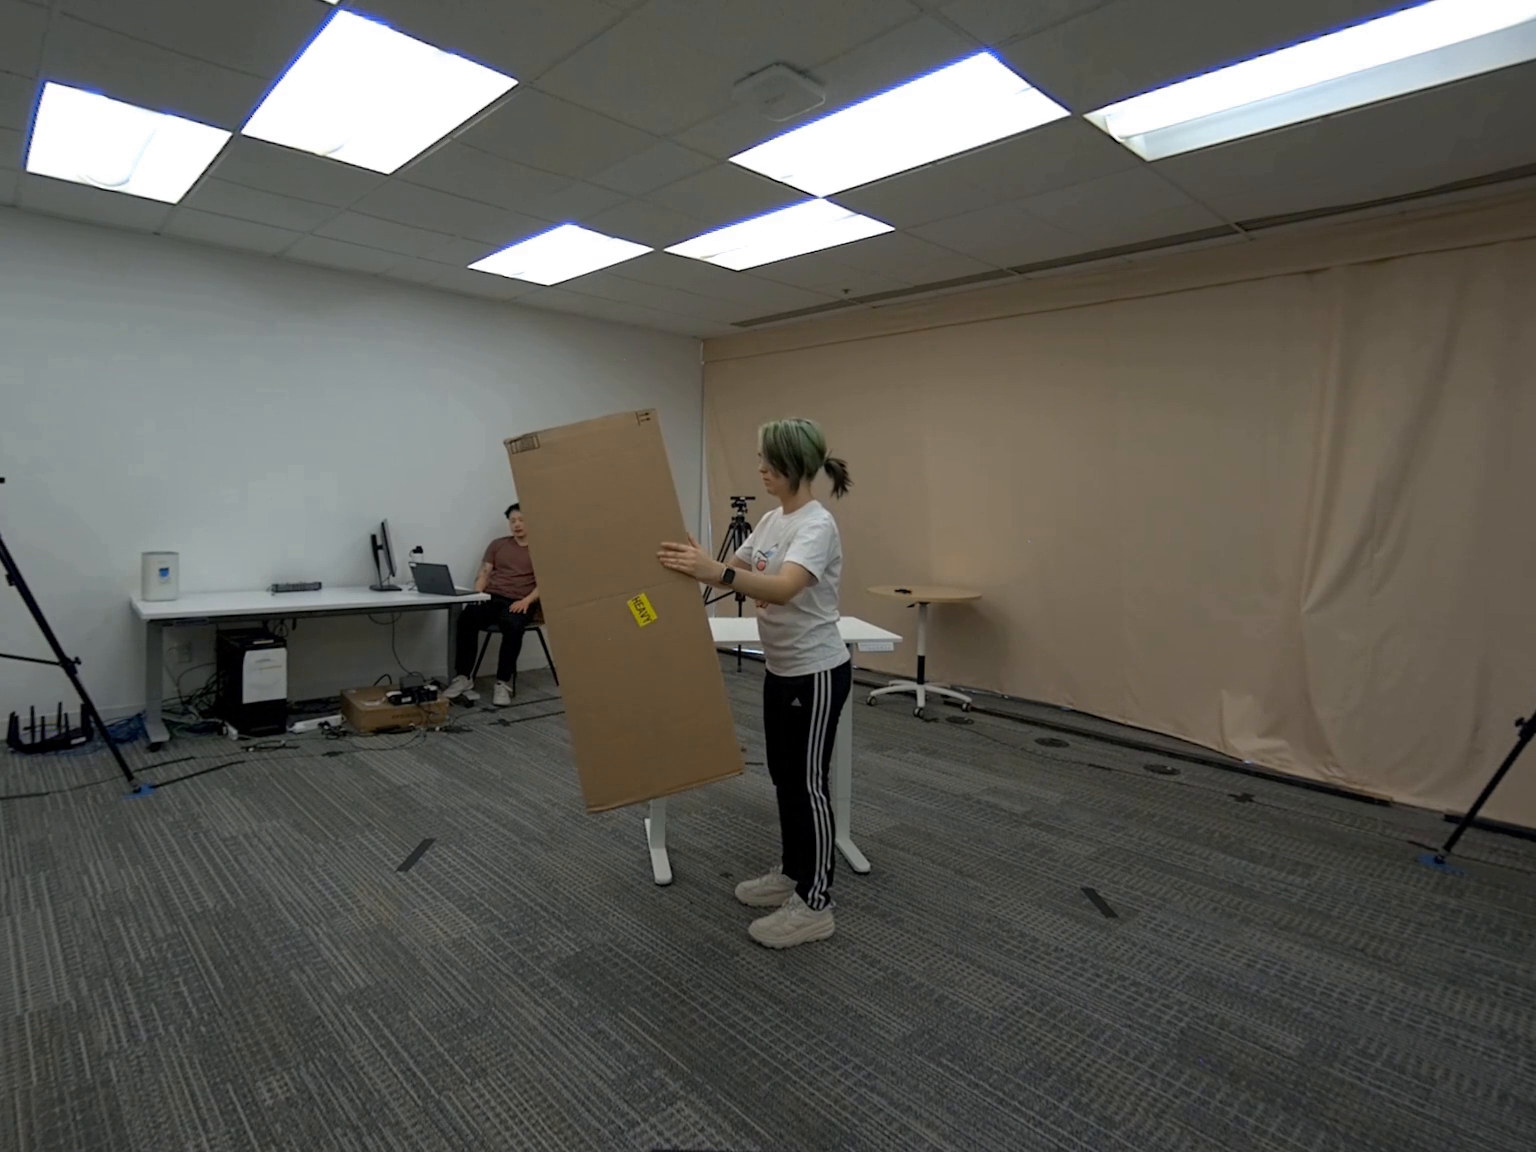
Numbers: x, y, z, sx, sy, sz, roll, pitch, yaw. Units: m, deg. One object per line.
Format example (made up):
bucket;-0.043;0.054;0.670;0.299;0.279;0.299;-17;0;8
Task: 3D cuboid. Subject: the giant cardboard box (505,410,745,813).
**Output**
giant cardboard box;-0.419;0.106;2.512;0.445;1.035;0.582;-14;-7;-8
